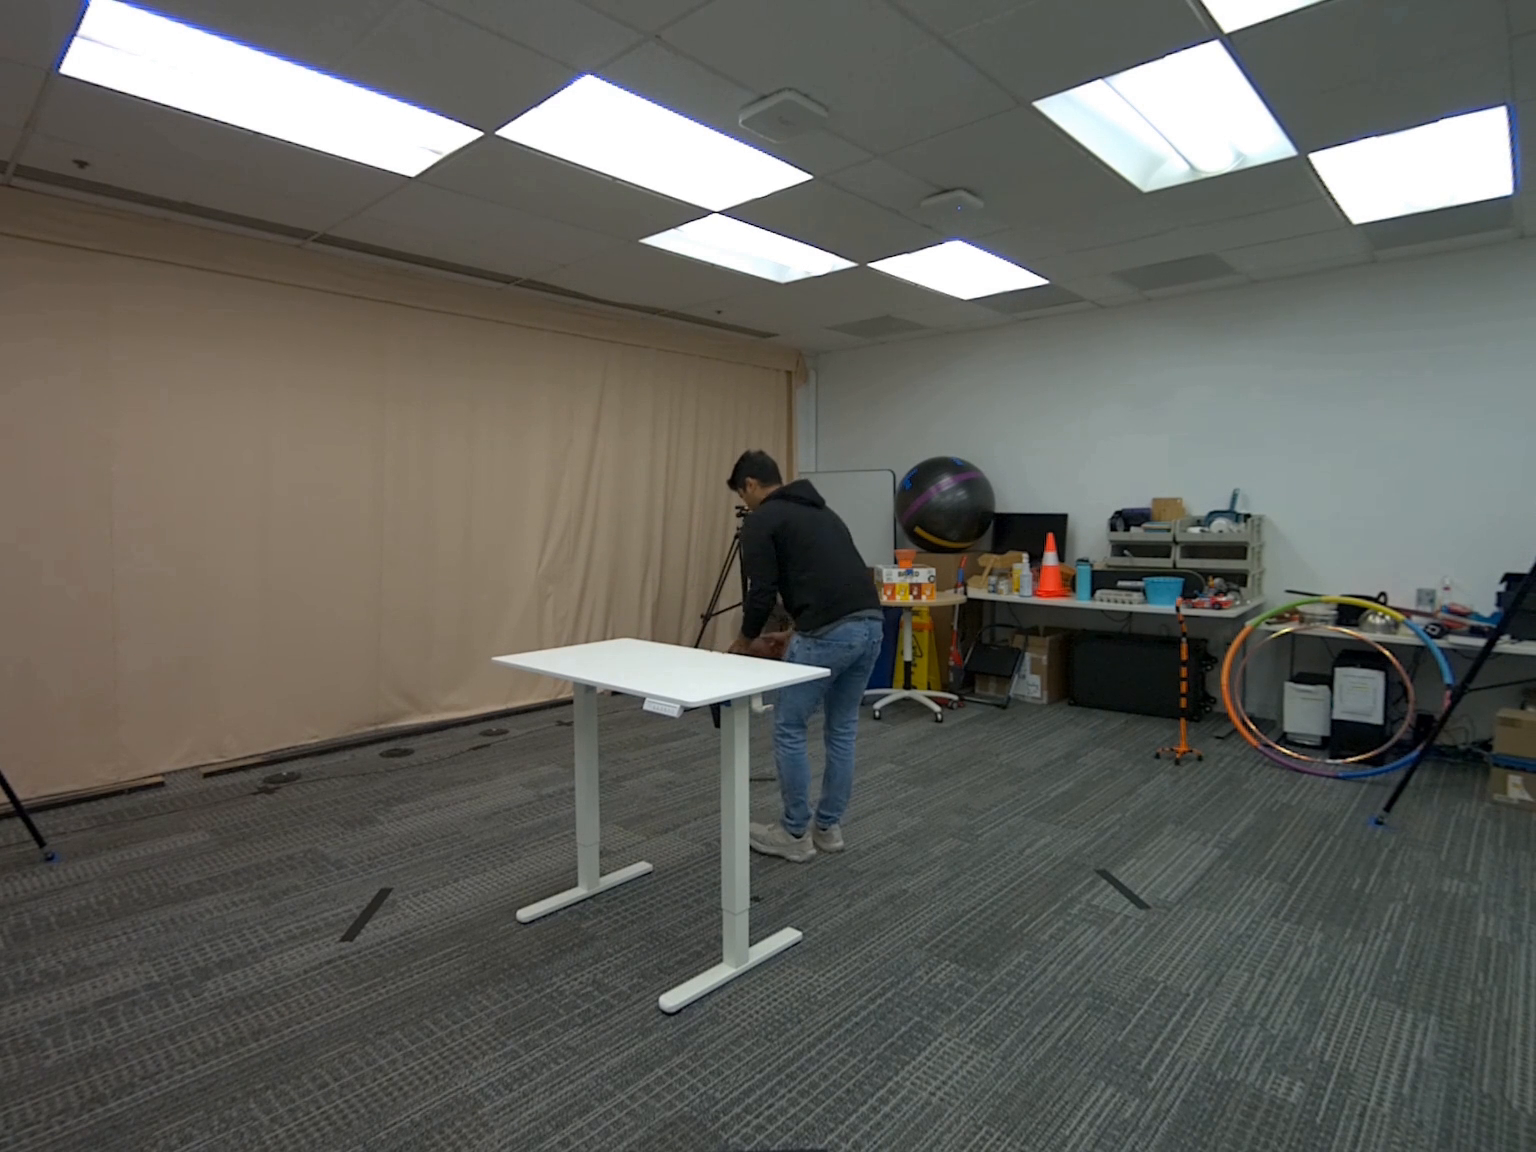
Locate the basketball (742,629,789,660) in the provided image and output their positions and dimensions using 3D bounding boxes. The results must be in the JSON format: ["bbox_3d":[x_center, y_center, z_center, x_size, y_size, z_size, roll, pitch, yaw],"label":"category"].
[{"bbox_3d":[-0.075,0.390,3.610,0.236,0.235,0.237,0,4,-2],"label":"basketball"}]
